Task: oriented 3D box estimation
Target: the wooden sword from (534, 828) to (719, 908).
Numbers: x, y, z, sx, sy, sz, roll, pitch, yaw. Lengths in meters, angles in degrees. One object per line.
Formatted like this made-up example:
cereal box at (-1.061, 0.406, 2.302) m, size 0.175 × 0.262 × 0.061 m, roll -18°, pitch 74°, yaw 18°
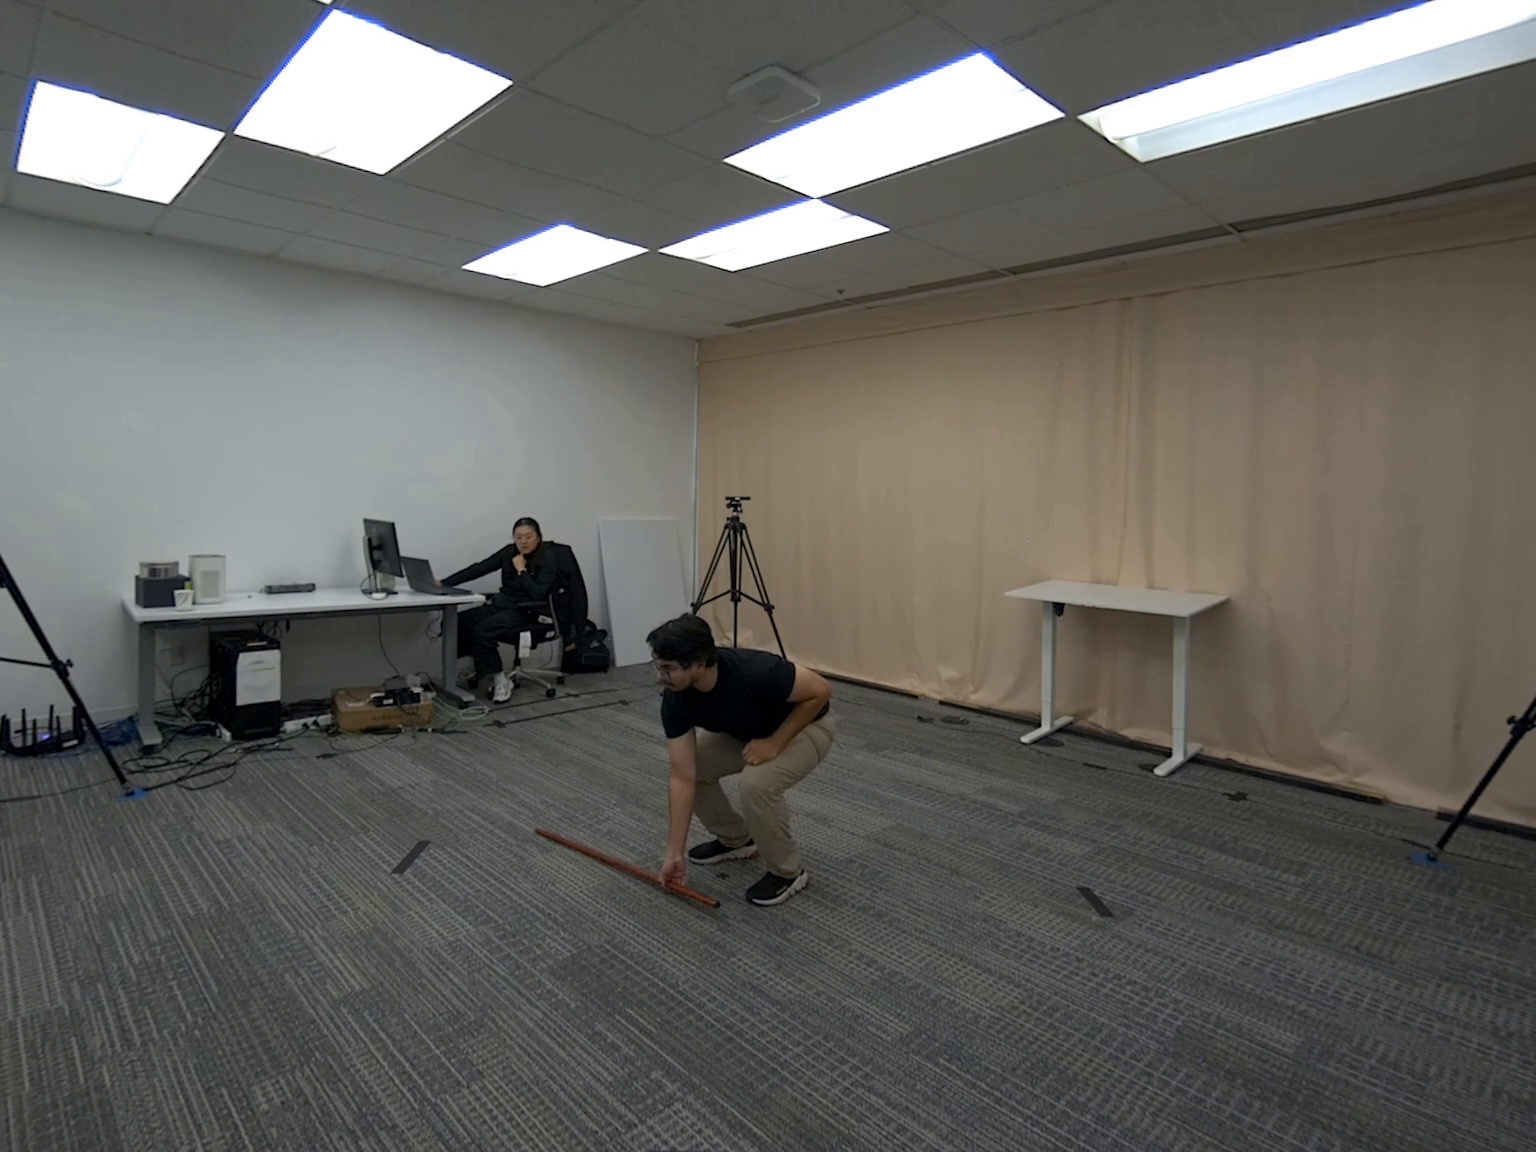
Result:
wooden sword at (-0.550, 1.064, 3.113) m, size 1.050 × 0.024 × 0.050 m, roll 3°, pitch -3°, yaw 41°
